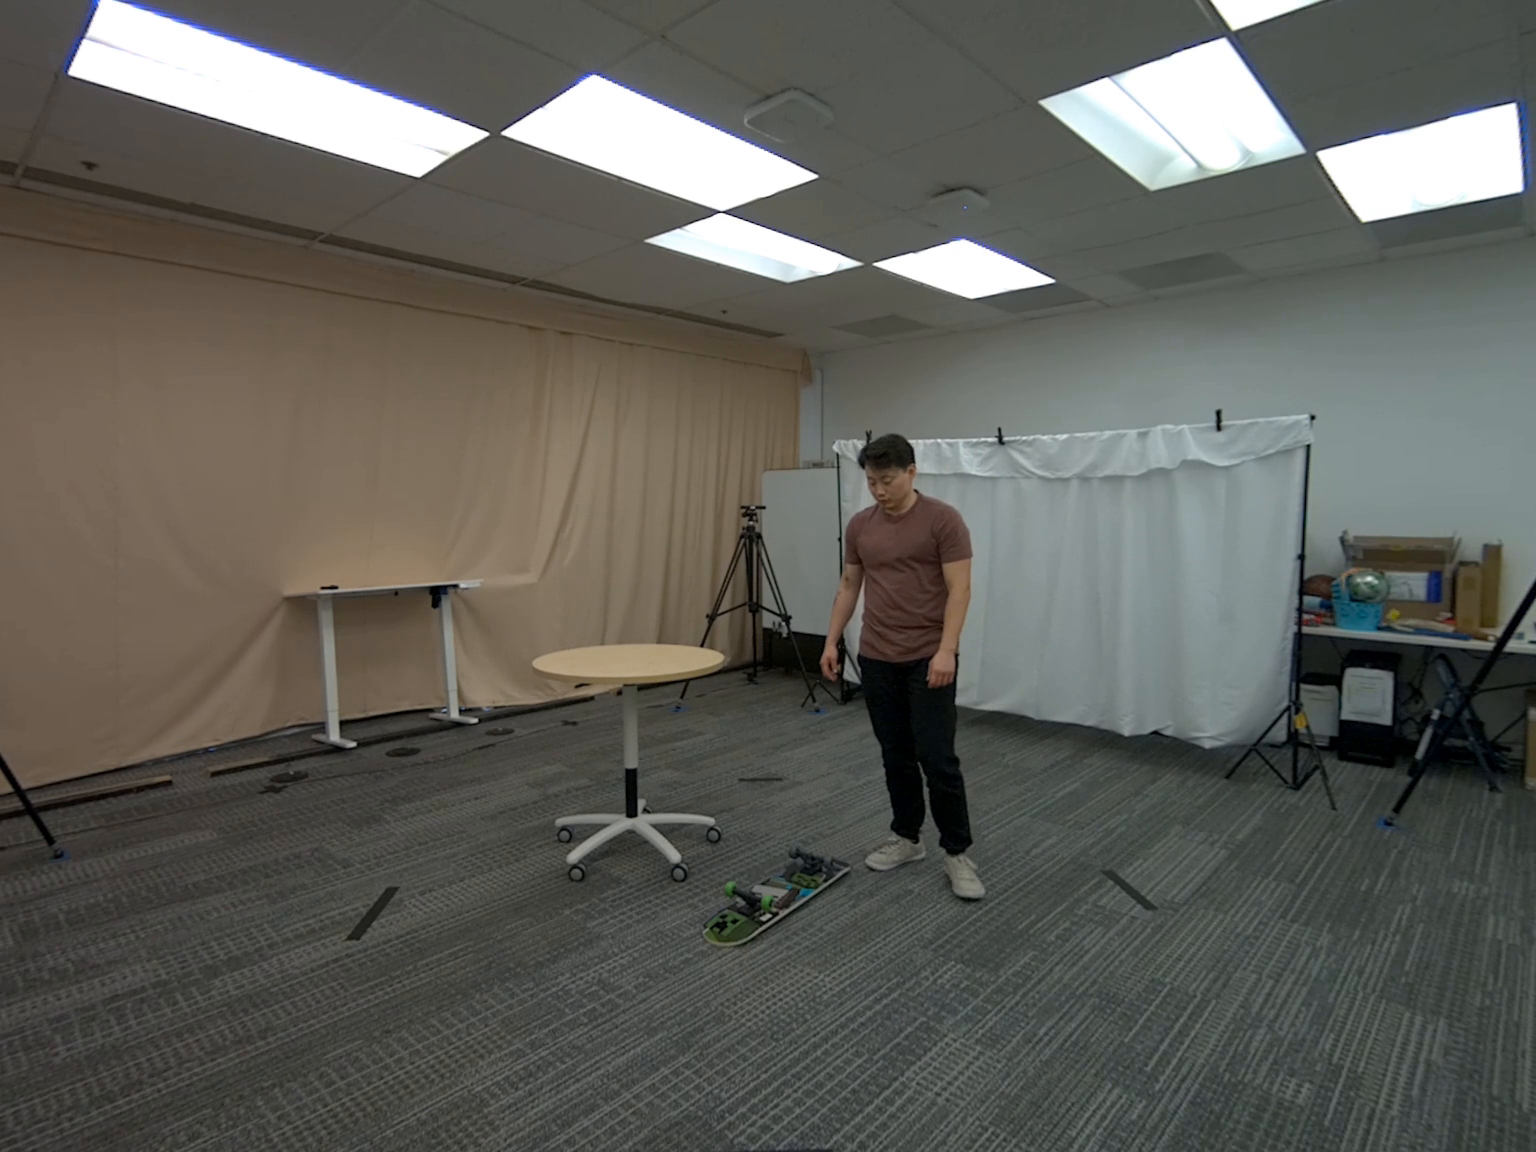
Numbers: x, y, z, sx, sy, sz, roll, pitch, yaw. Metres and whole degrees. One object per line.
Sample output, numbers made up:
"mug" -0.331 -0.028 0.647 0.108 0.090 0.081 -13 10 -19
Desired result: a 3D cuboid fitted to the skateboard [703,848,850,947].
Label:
"skateboard" 0.055 1.092 2.980 0.199 0.110 0.762 2 5 36
